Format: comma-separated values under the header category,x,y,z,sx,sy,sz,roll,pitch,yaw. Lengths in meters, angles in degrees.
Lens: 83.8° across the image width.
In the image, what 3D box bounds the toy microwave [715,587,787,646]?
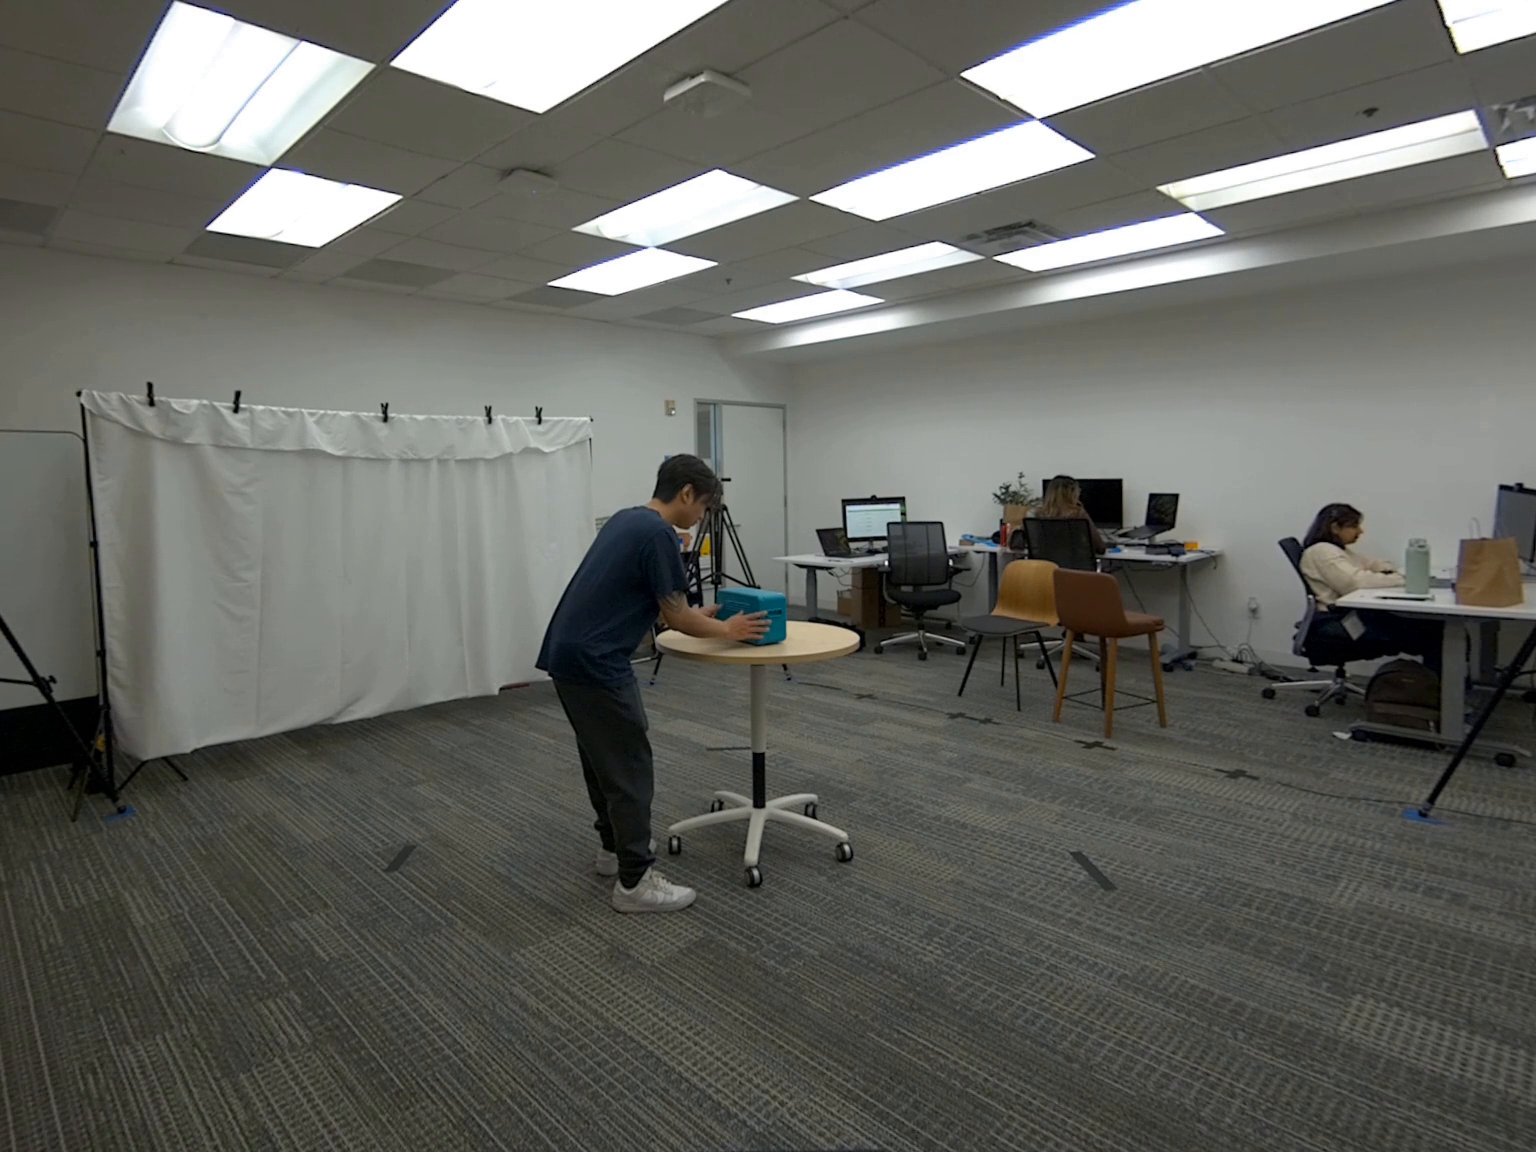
category,x,y,z,sx,sy,sz,roll,pitch,yaw
toy microwave,-0.057,0.143,3.161,0.148,0.183,0.295,-3,6,-34
